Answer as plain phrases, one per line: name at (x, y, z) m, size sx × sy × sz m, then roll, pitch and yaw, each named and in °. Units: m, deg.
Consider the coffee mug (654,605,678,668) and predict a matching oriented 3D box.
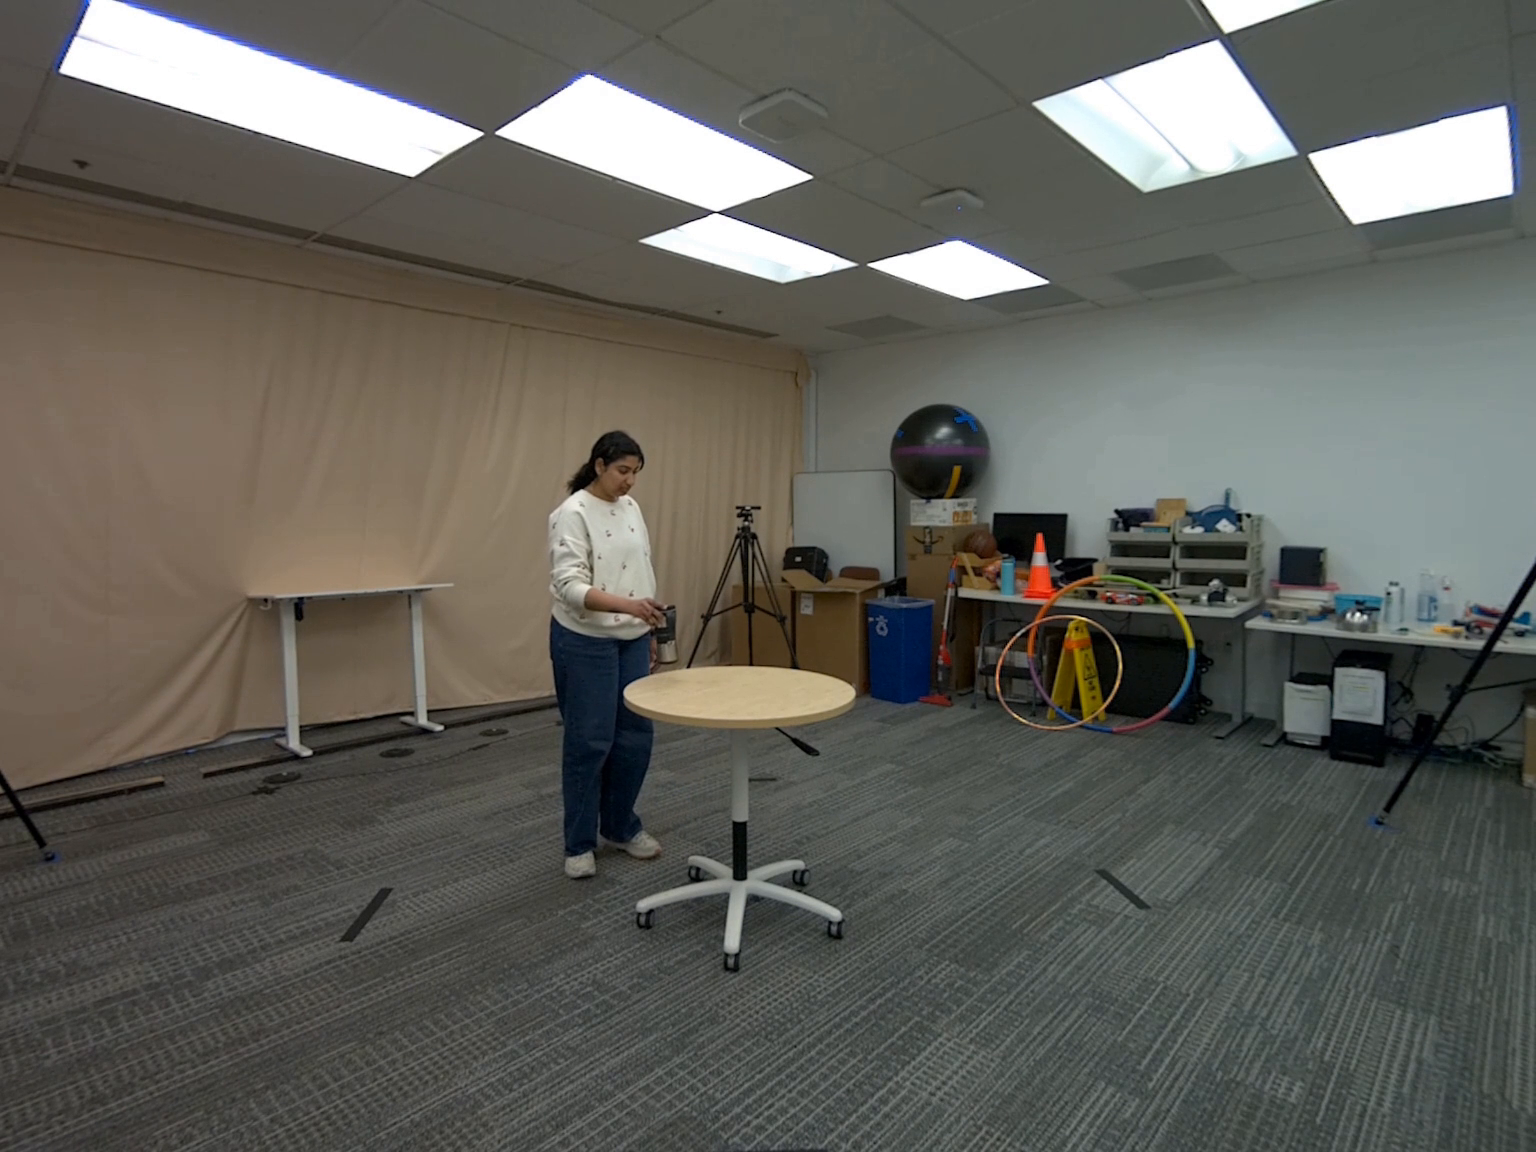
coffee mug at (-0.368, 0.204, 2.900) m, size 0.091 × 0.202 × 0.118 m, roll 4°, pitch 6°, yaw 42°
